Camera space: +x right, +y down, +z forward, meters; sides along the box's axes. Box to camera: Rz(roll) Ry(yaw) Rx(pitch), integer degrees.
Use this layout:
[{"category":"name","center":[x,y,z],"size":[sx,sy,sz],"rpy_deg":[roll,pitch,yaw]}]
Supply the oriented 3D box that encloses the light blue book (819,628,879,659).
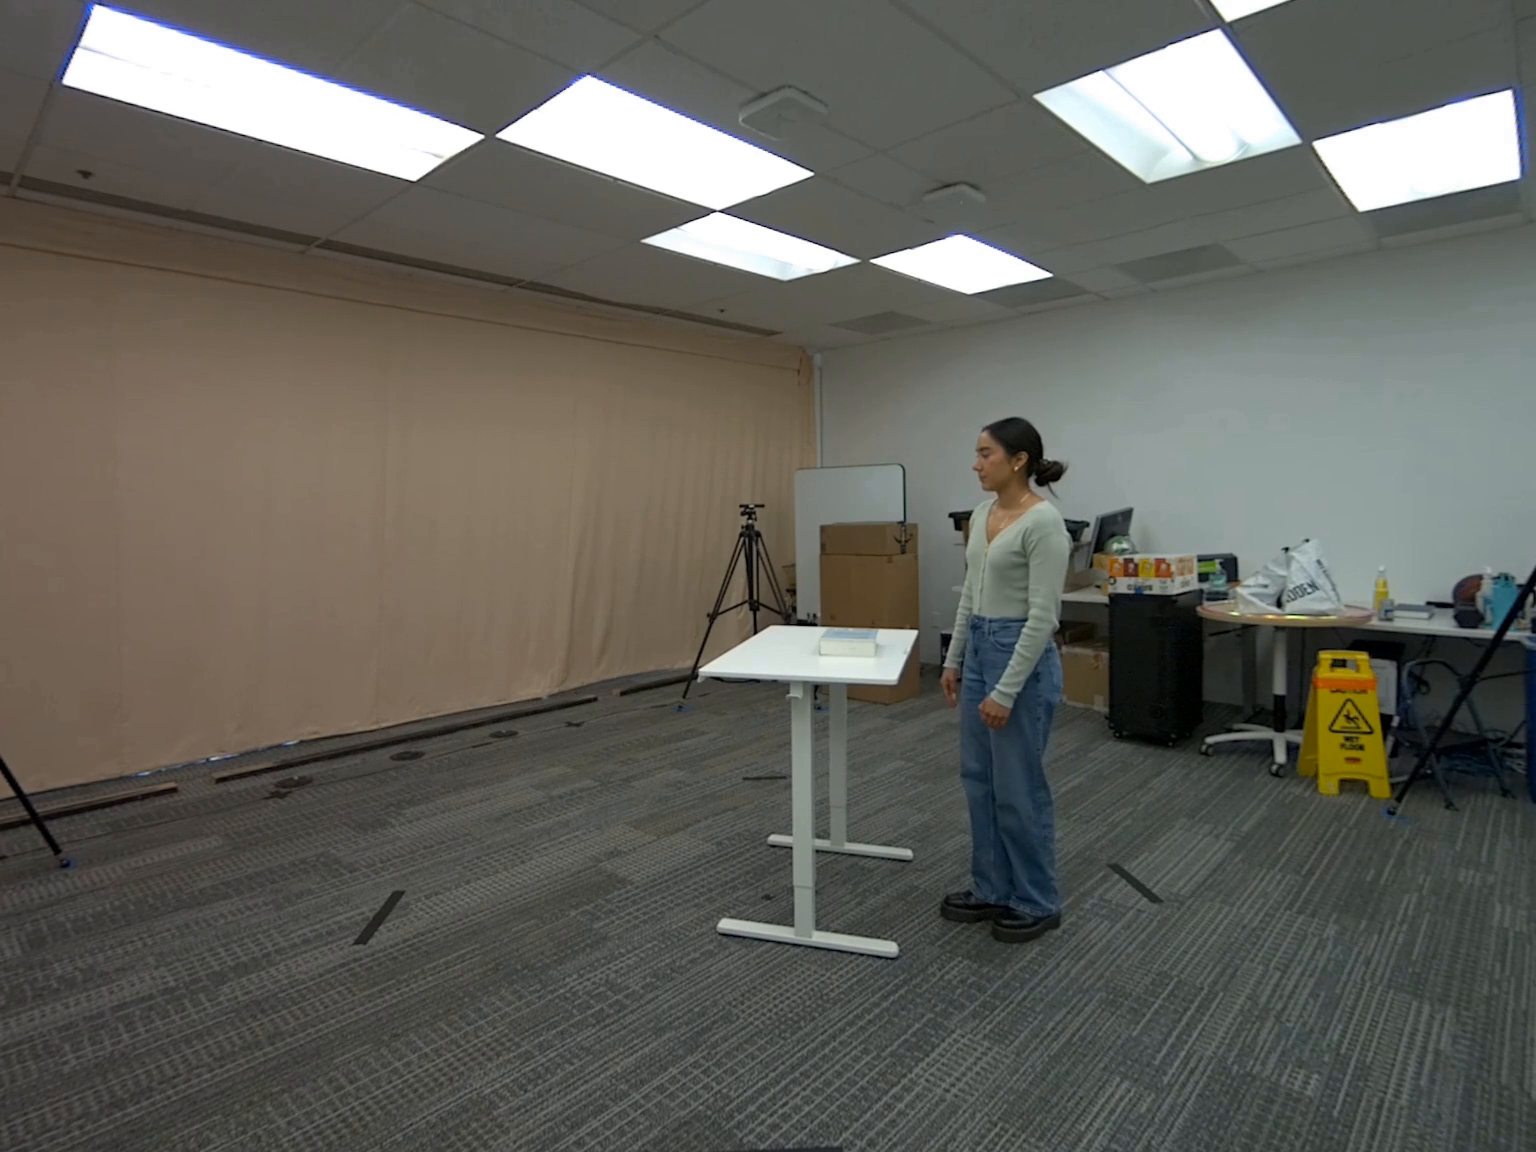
[{"category":"light blue book","center":[0.296,0.231,2.923],"size":[0.194,0.059,0.258],"rpy_deg":[1,5,11]}]
